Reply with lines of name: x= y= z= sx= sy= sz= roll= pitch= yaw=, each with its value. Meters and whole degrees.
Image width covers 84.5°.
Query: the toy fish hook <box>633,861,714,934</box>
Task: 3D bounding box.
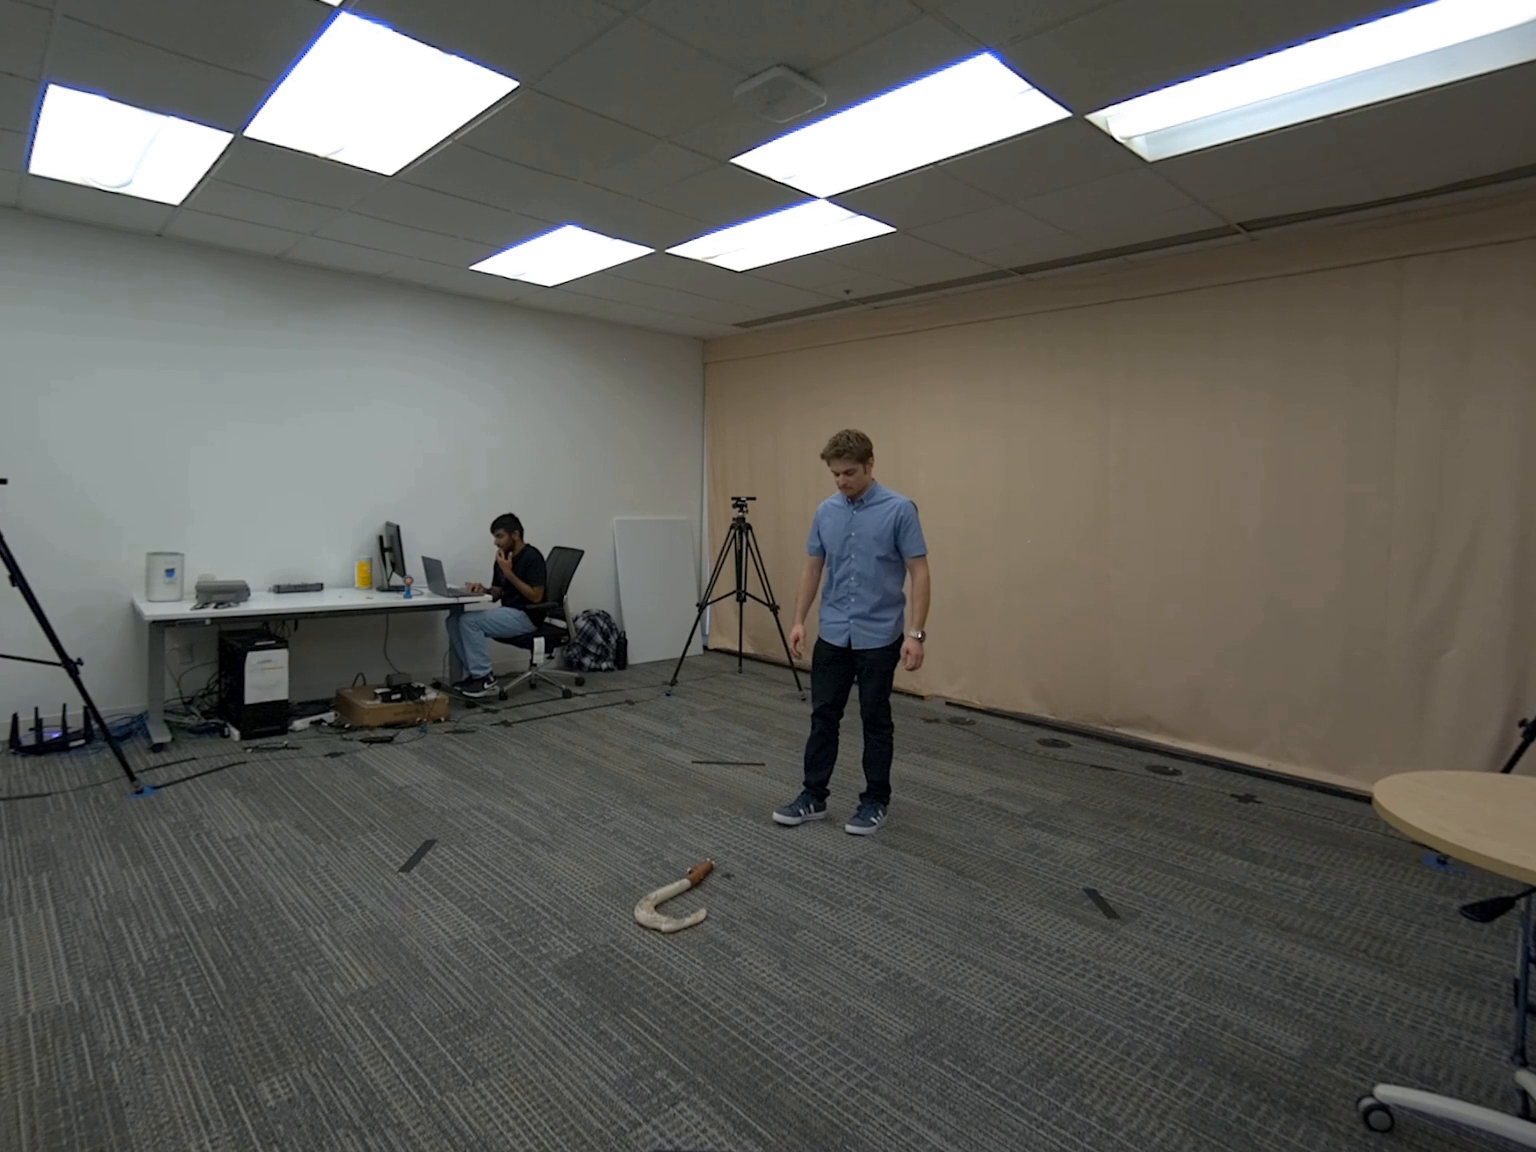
toy fish hook: x=-0.272 y=1.107 z=2.918 sx=0.229 sy=0.048 sz=0.498 roll=13 pitch=10 yaw=23
